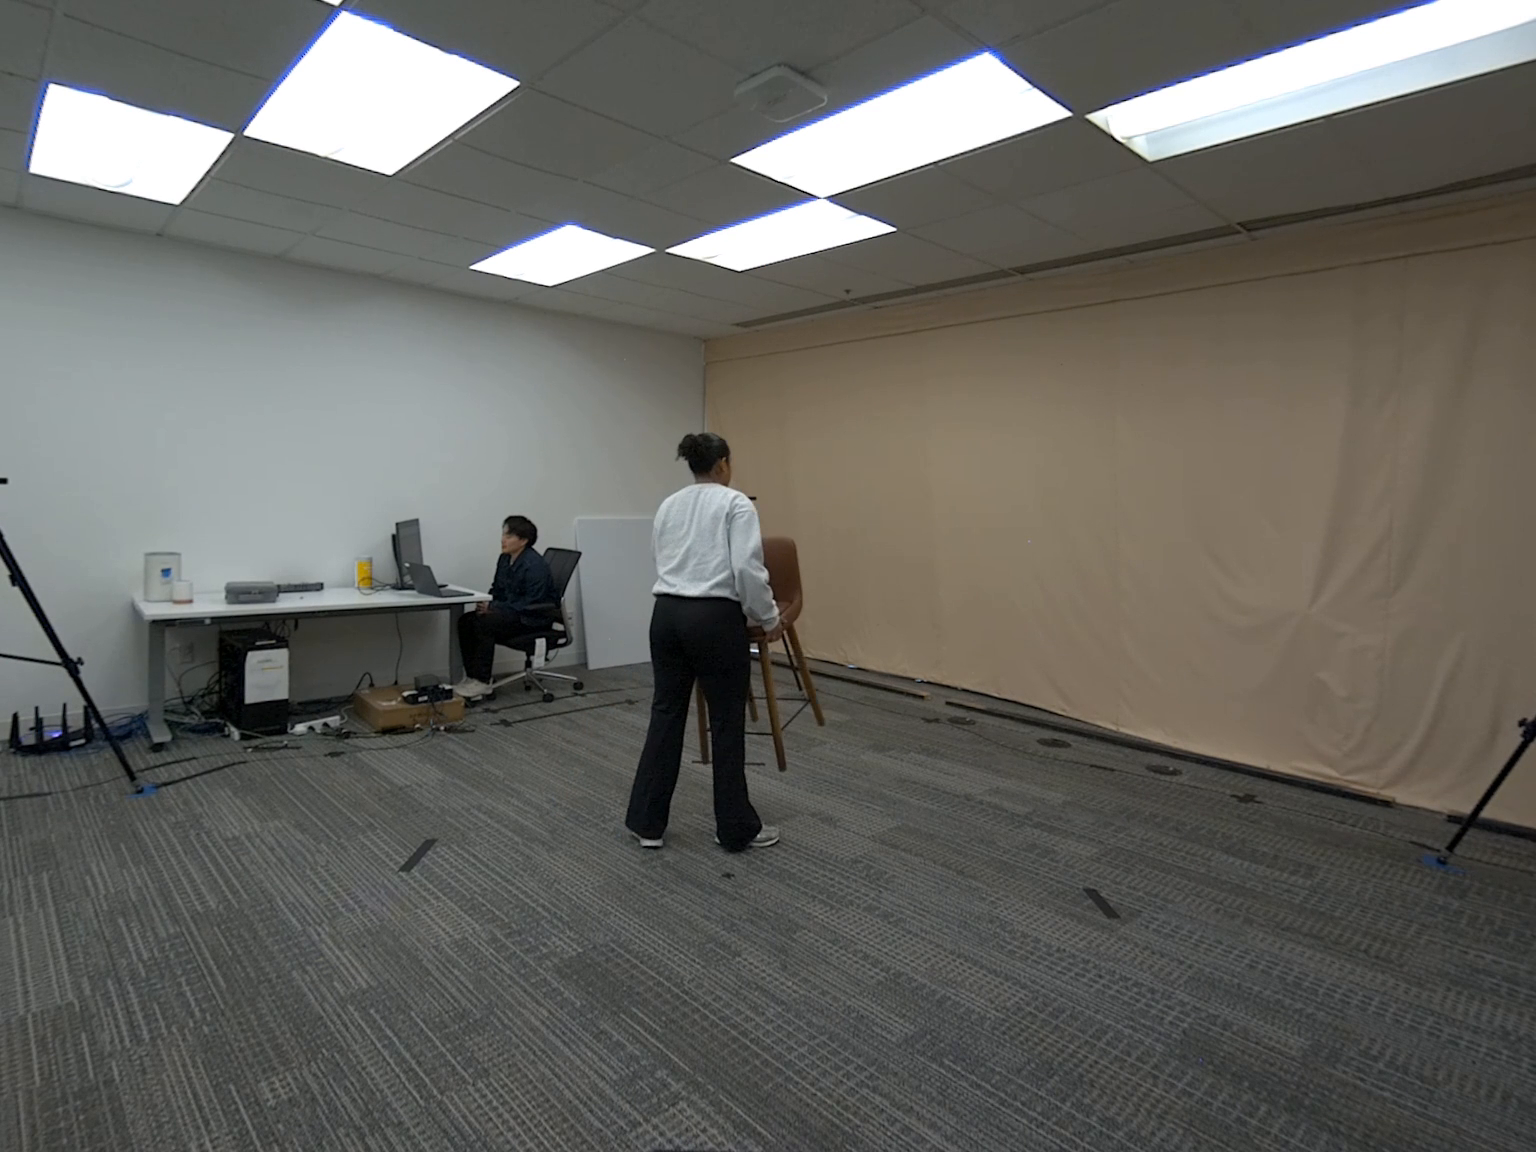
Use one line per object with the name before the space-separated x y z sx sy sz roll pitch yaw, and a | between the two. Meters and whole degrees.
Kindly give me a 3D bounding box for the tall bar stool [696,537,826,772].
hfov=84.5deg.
tall bar stool | -0.089 0.322 3.614 0.465 0.882 0.462 -4 11 30
